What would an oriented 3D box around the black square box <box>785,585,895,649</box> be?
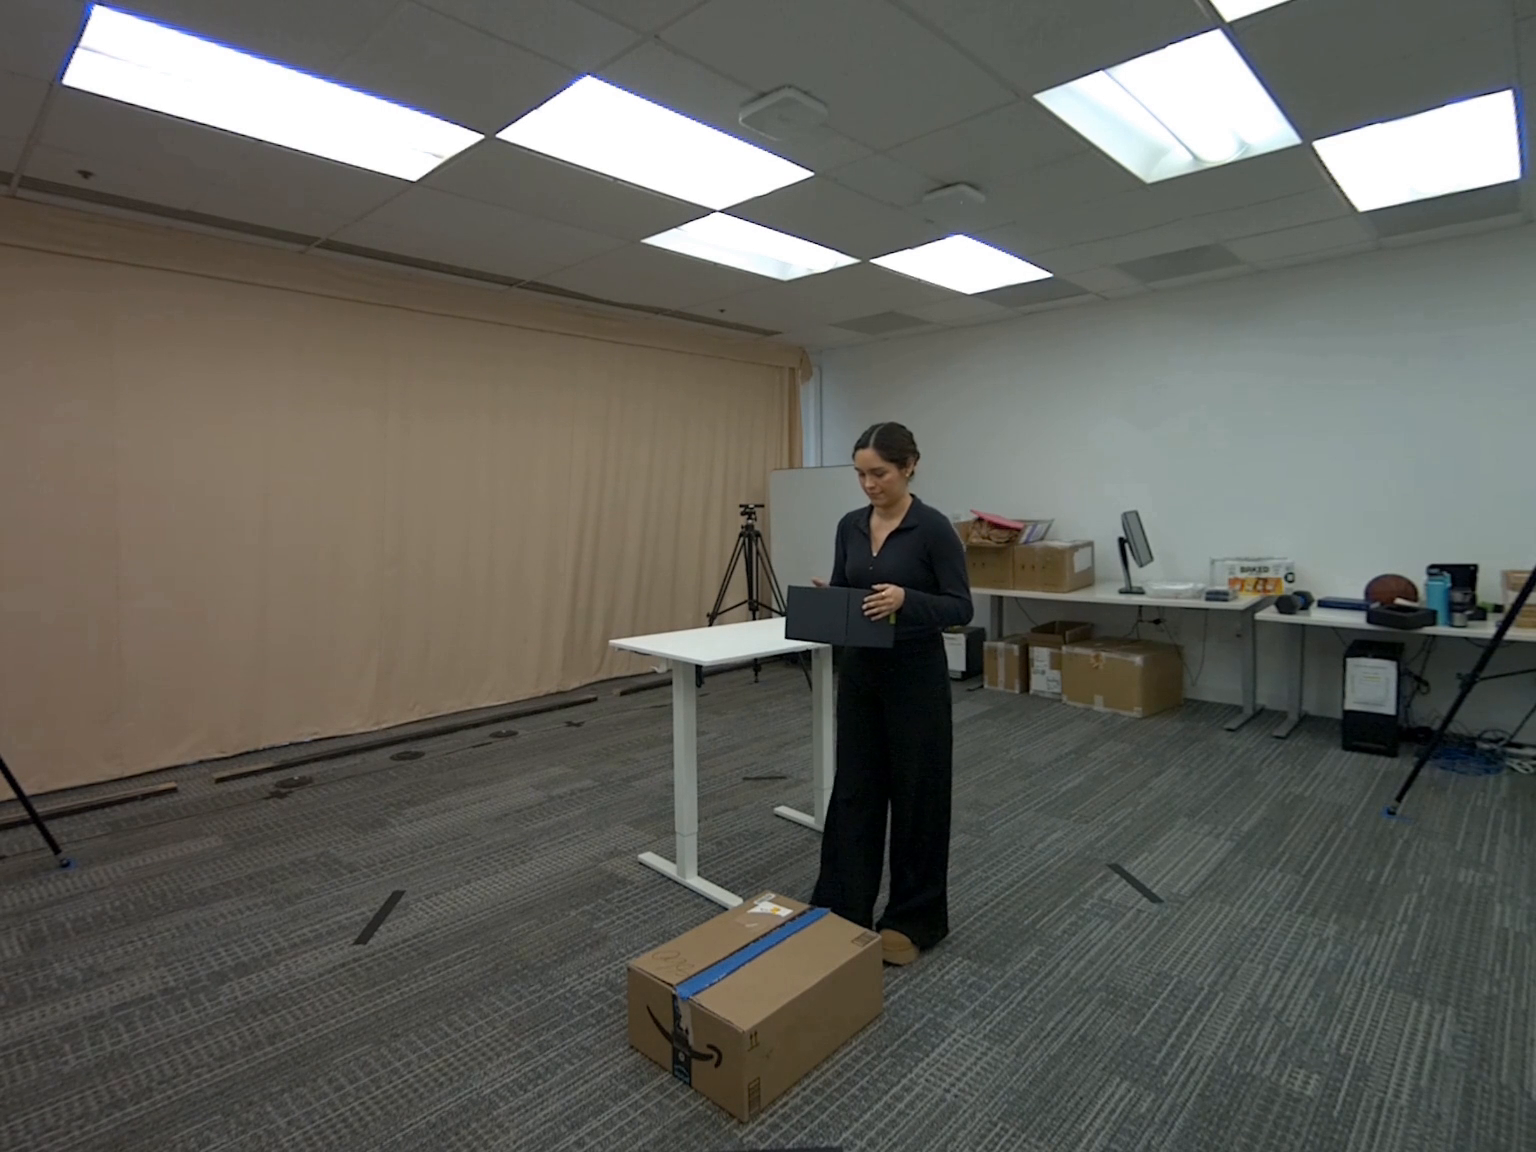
[{"bbox_3d":[0.203,0.114,2.398,0.210,0.156,0.235,6,-3,-43],"label":"black square box"}]
